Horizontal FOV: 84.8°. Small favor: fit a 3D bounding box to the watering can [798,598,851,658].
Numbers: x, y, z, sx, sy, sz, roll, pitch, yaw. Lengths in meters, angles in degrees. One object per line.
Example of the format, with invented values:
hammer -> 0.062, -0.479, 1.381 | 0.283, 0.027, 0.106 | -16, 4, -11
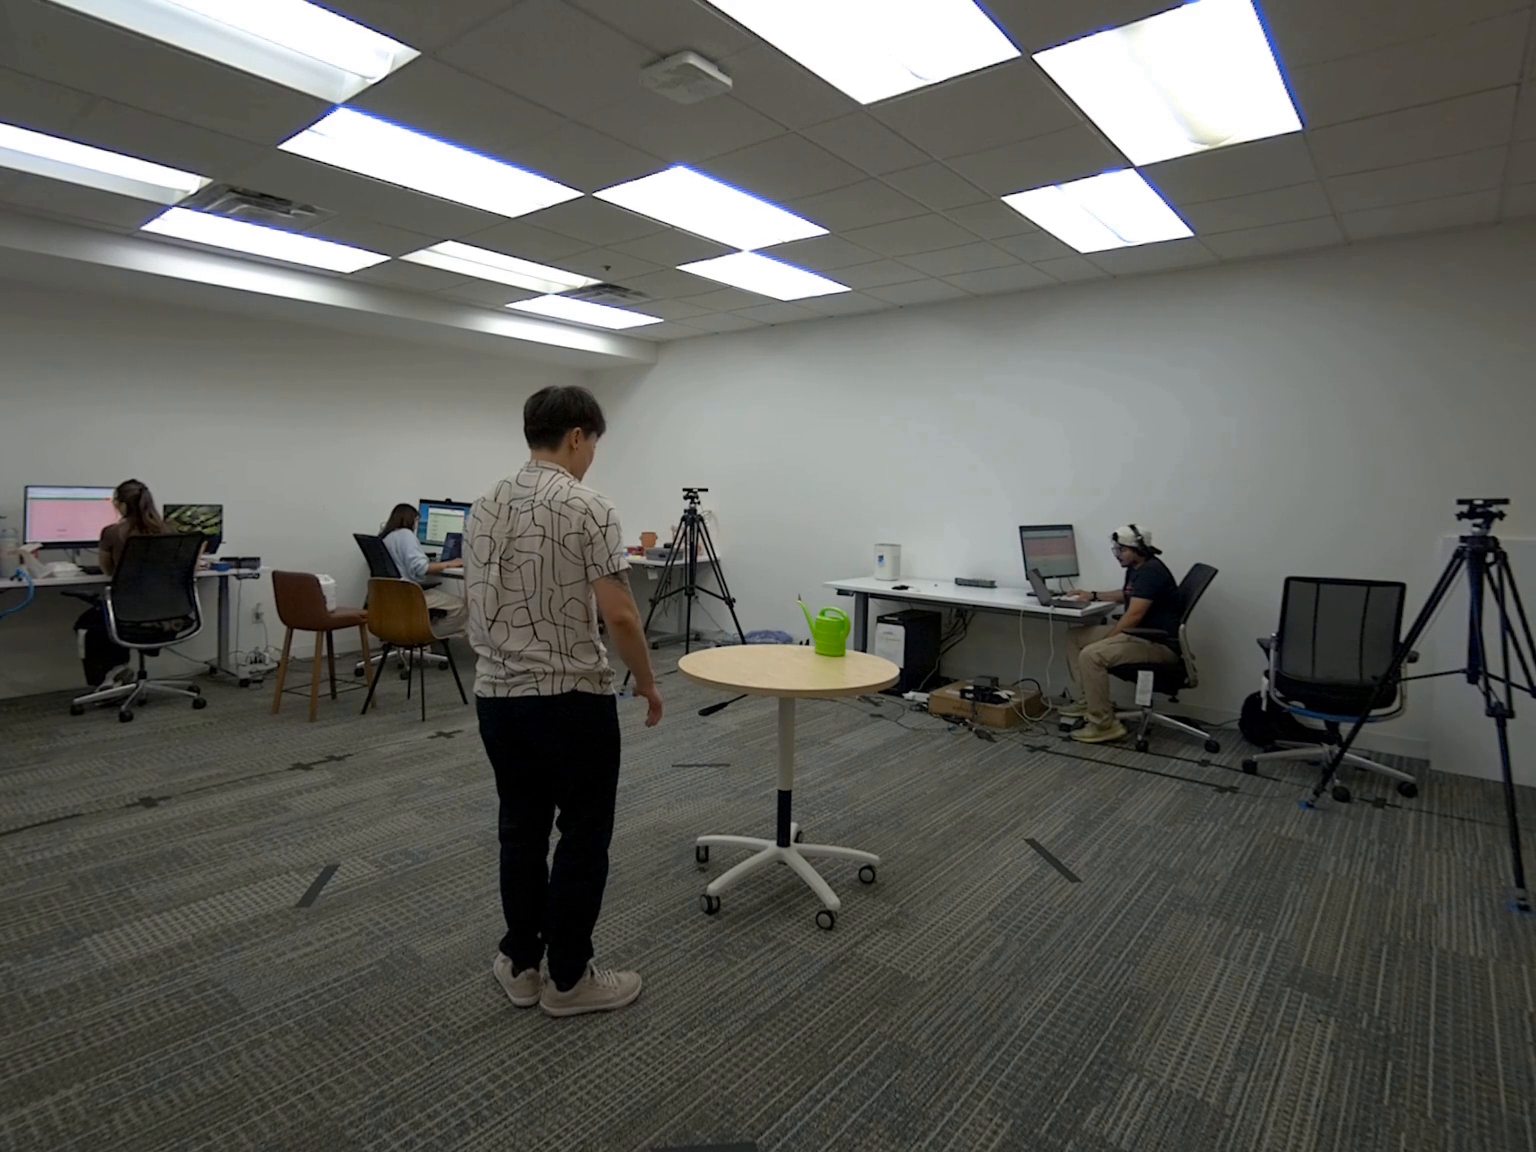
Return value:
watering can -> 0.200, 0.192, 3.221 | 0.096, 0.175, 0.286 | -3, 9, -25
